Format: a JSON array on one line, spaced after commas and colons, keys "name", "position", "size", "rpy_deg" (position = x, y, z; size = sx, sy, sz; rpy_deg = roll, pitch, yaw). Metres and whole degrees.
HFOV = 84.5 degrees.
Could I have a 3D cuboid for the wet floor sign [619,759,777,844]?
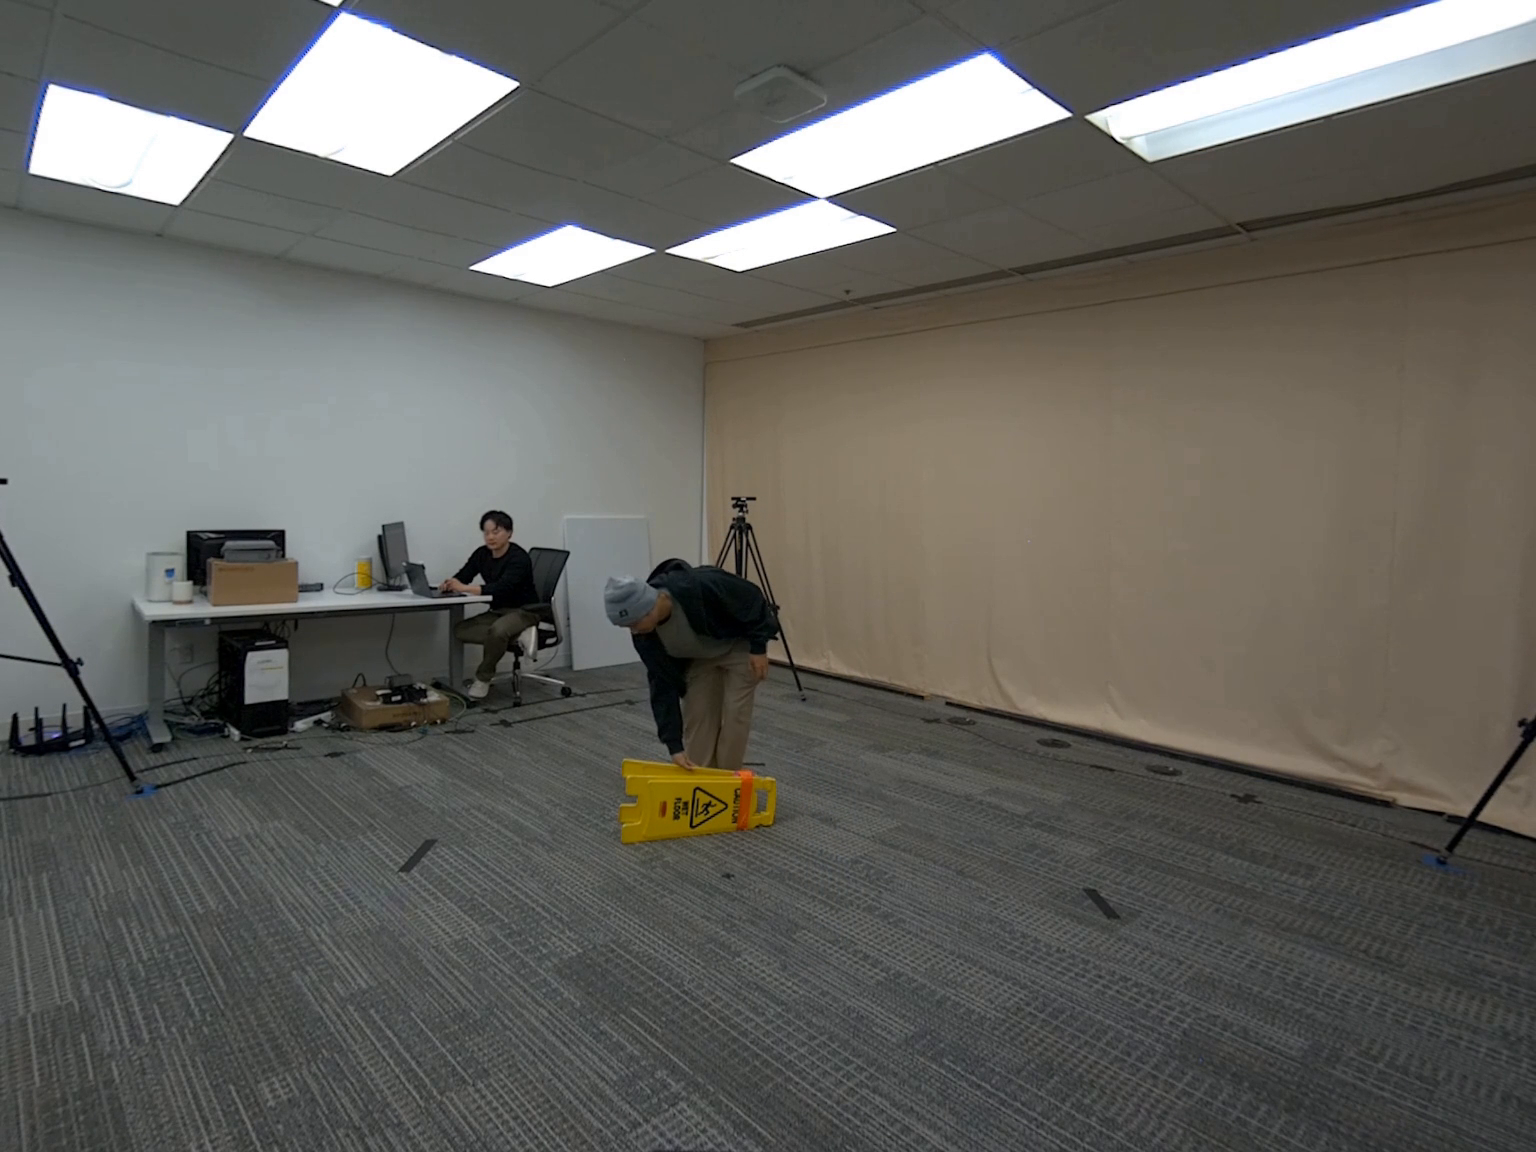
[{"name": "wet floor sign", "position": [-0.297, 0.939, 3.542], "size": [0.640, 0.281, 0.293], "rpy_deg": [4, 5, -11]}]
